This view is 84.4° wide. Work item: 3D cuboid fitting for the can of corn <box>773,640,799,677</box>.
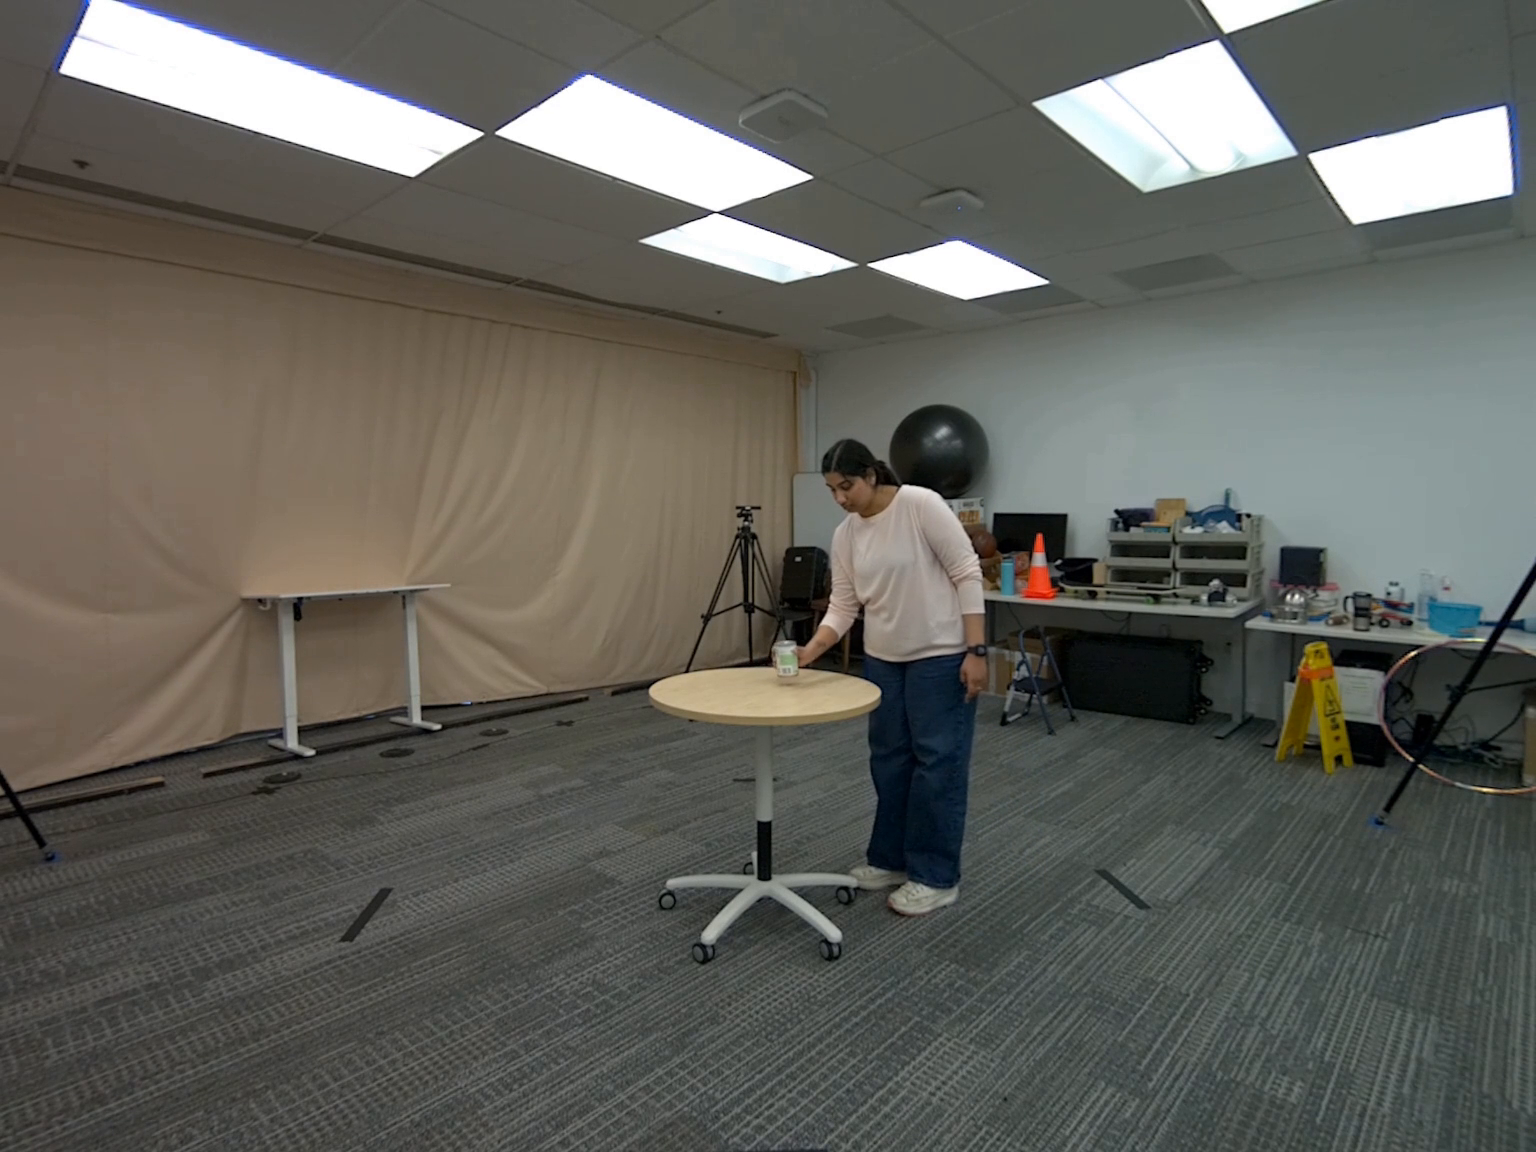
[{"bbox_3d":[0.066,0.285,2.861,0.074,0.111,0.074,-4,4,-2],"label":"can of corn"}]
